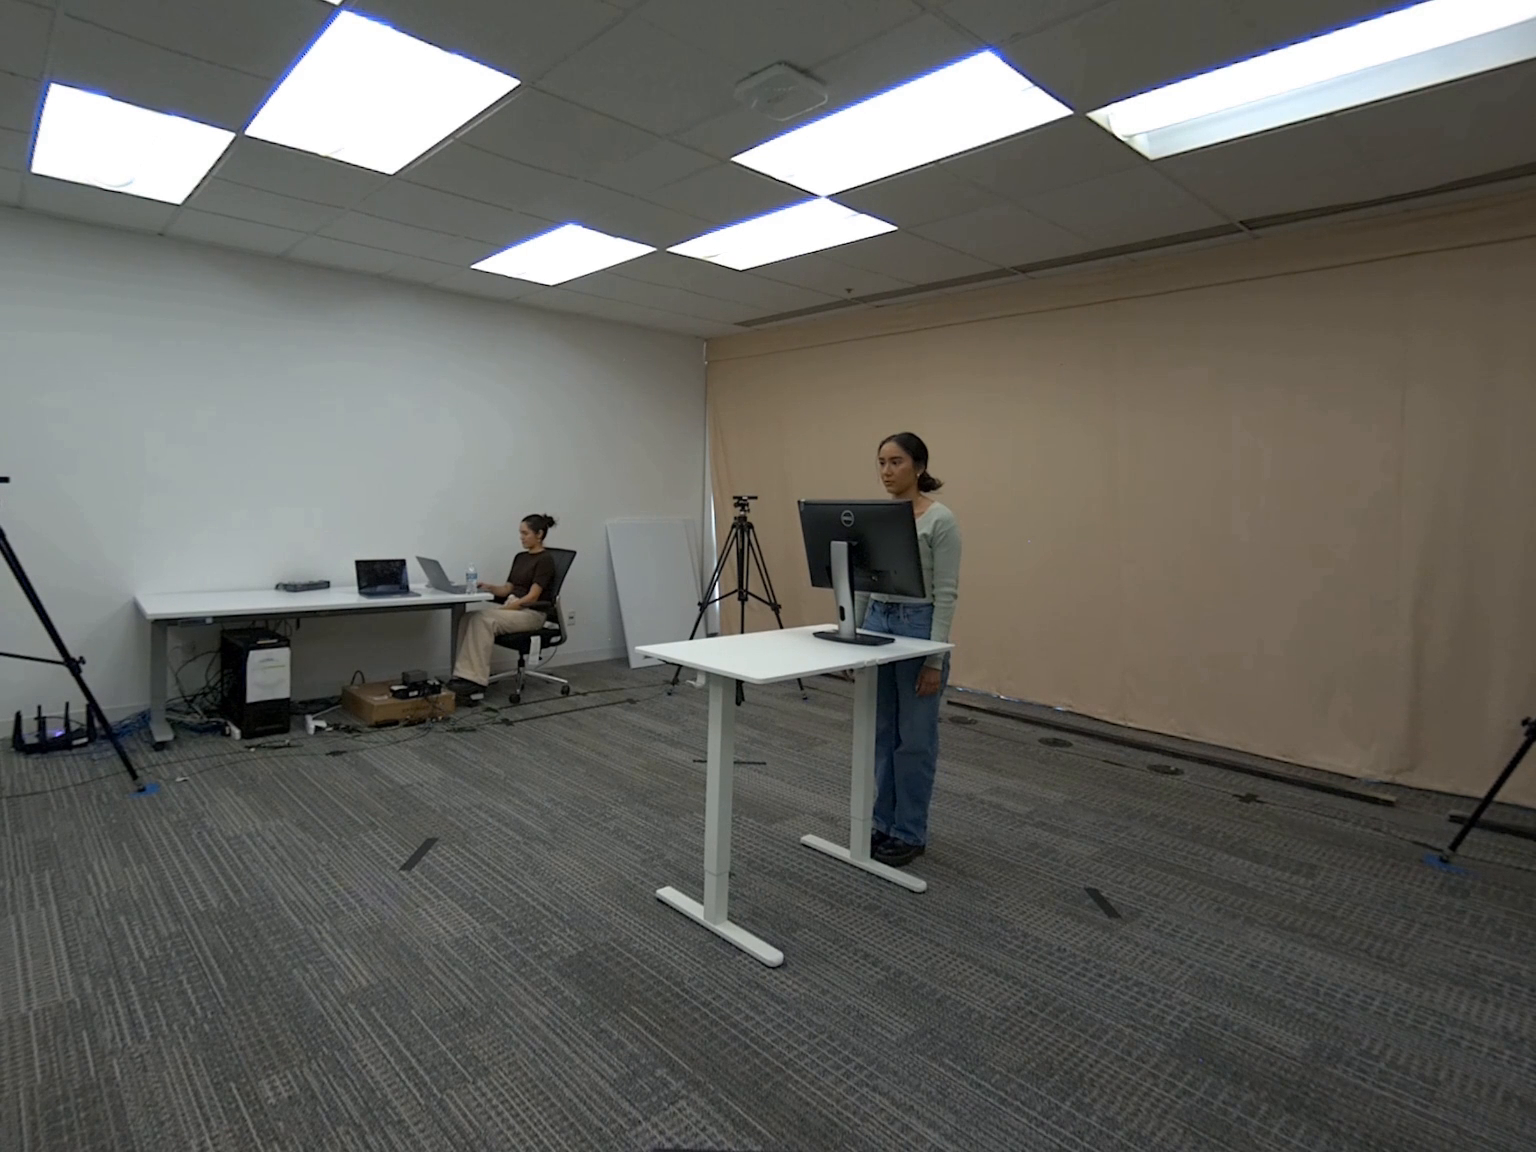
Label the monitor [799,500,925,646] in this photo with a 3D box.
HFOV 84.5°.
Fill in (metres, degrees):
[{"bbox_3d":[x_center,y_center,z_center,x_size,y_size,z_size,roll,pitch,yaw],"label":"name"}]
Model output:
[{"bbox_3d":[0.300,-0.015,3.071,0.183,0.521,0.553,-4,6,-44],"label":"monitor"}]
